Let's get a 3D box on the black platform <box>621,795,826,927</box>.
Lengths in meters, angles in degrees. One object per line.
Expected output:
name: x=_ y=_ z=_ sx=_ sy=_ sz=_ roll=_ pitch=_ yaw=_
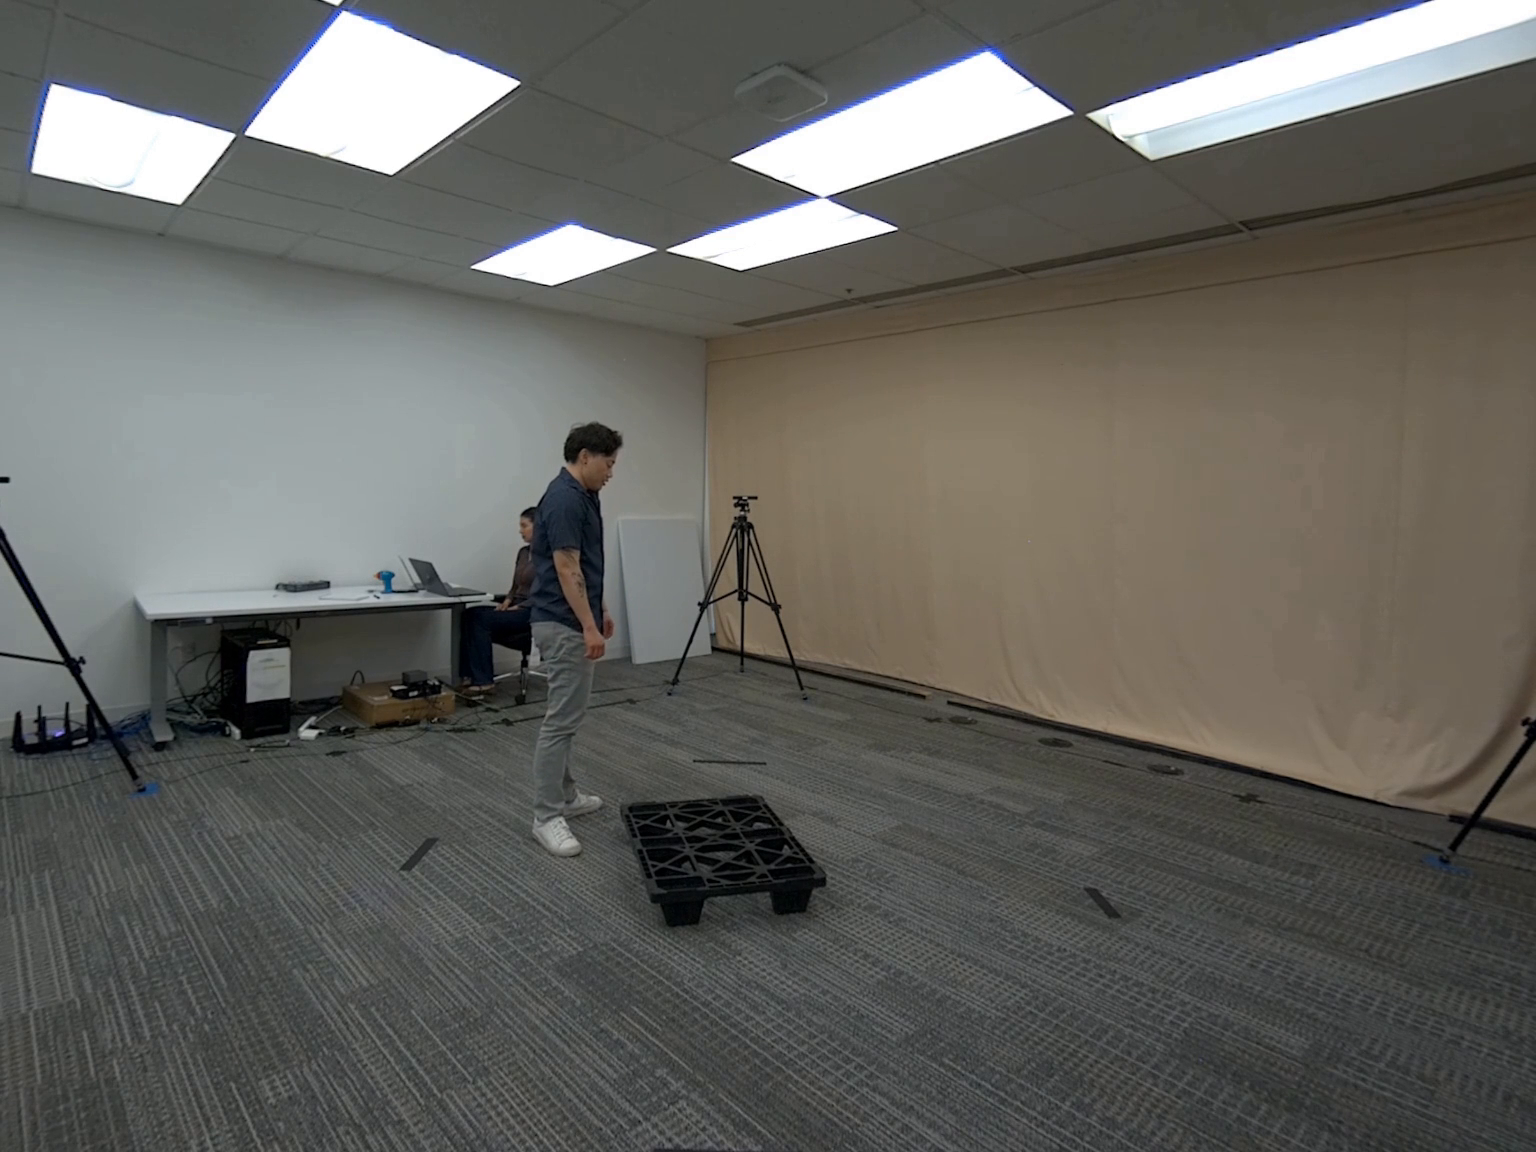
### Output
black platform: x=-0.206 y=1.031 z=3.123 sx=0.597 sy=0.143 sz=0.818 roll=0 pitch=6 yaw=-16
